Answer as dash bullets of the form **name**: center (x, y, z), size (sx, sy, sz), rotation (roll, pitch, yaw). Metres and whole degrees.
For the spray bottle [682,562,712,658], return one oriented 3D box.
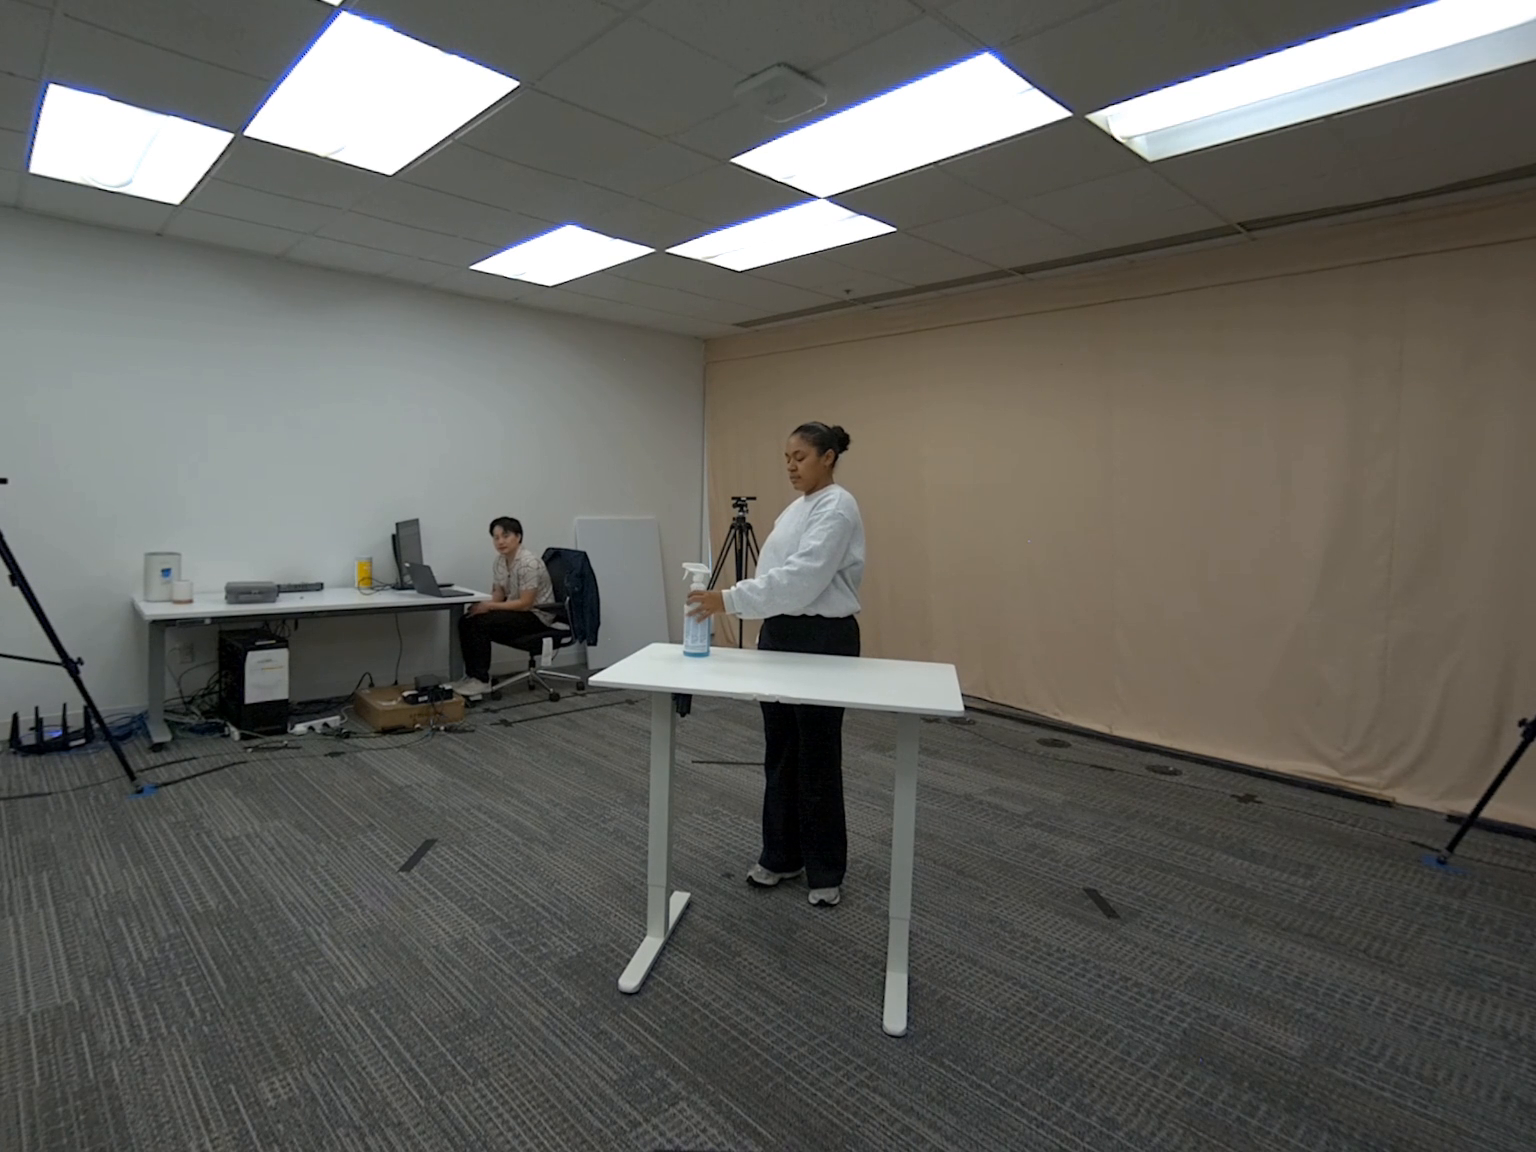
- **spray bottle**: center (-0.231, 0.111, 2.700), size (0.092, 0.297, 0.085), rotation (2, 2, 24)
